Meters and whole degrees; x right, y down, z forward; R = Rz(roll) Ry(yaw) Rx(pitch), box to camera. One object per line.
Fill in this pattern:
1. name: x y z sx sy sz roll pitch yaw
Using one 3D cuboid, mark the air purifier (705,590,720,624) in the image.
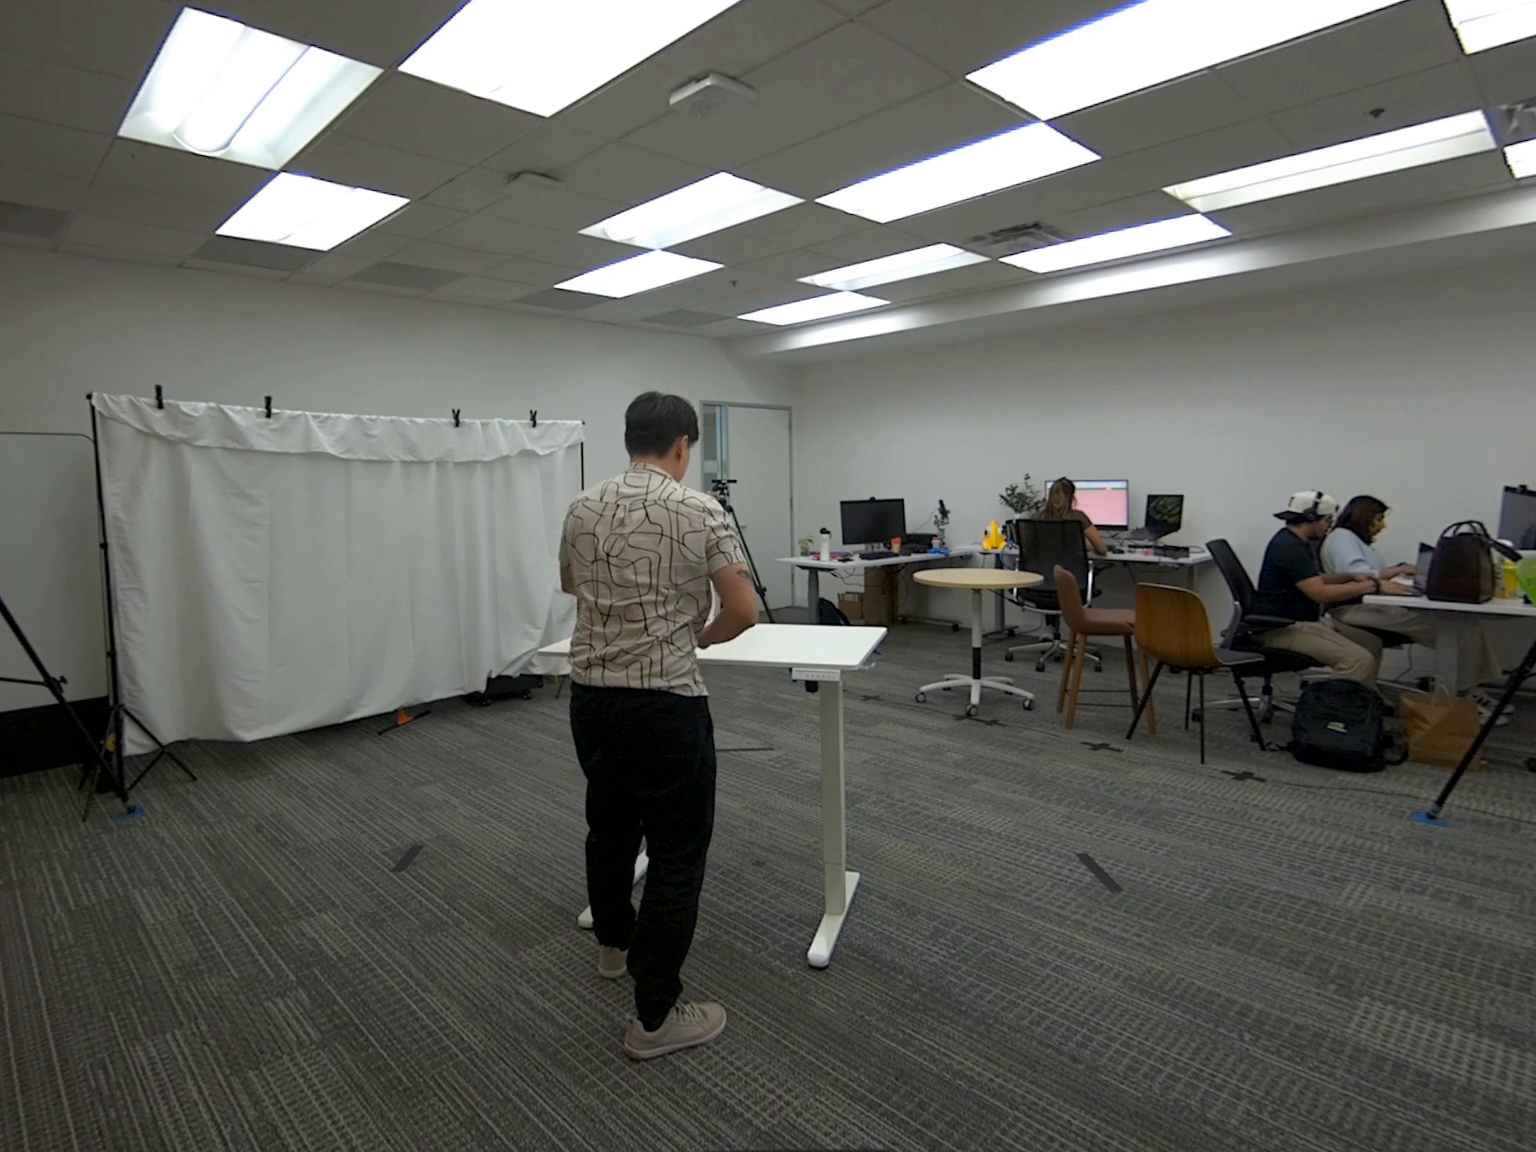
1. air purifier: -0.322 0.095 3.026 0.269 0.170 0.170 0 4 13
